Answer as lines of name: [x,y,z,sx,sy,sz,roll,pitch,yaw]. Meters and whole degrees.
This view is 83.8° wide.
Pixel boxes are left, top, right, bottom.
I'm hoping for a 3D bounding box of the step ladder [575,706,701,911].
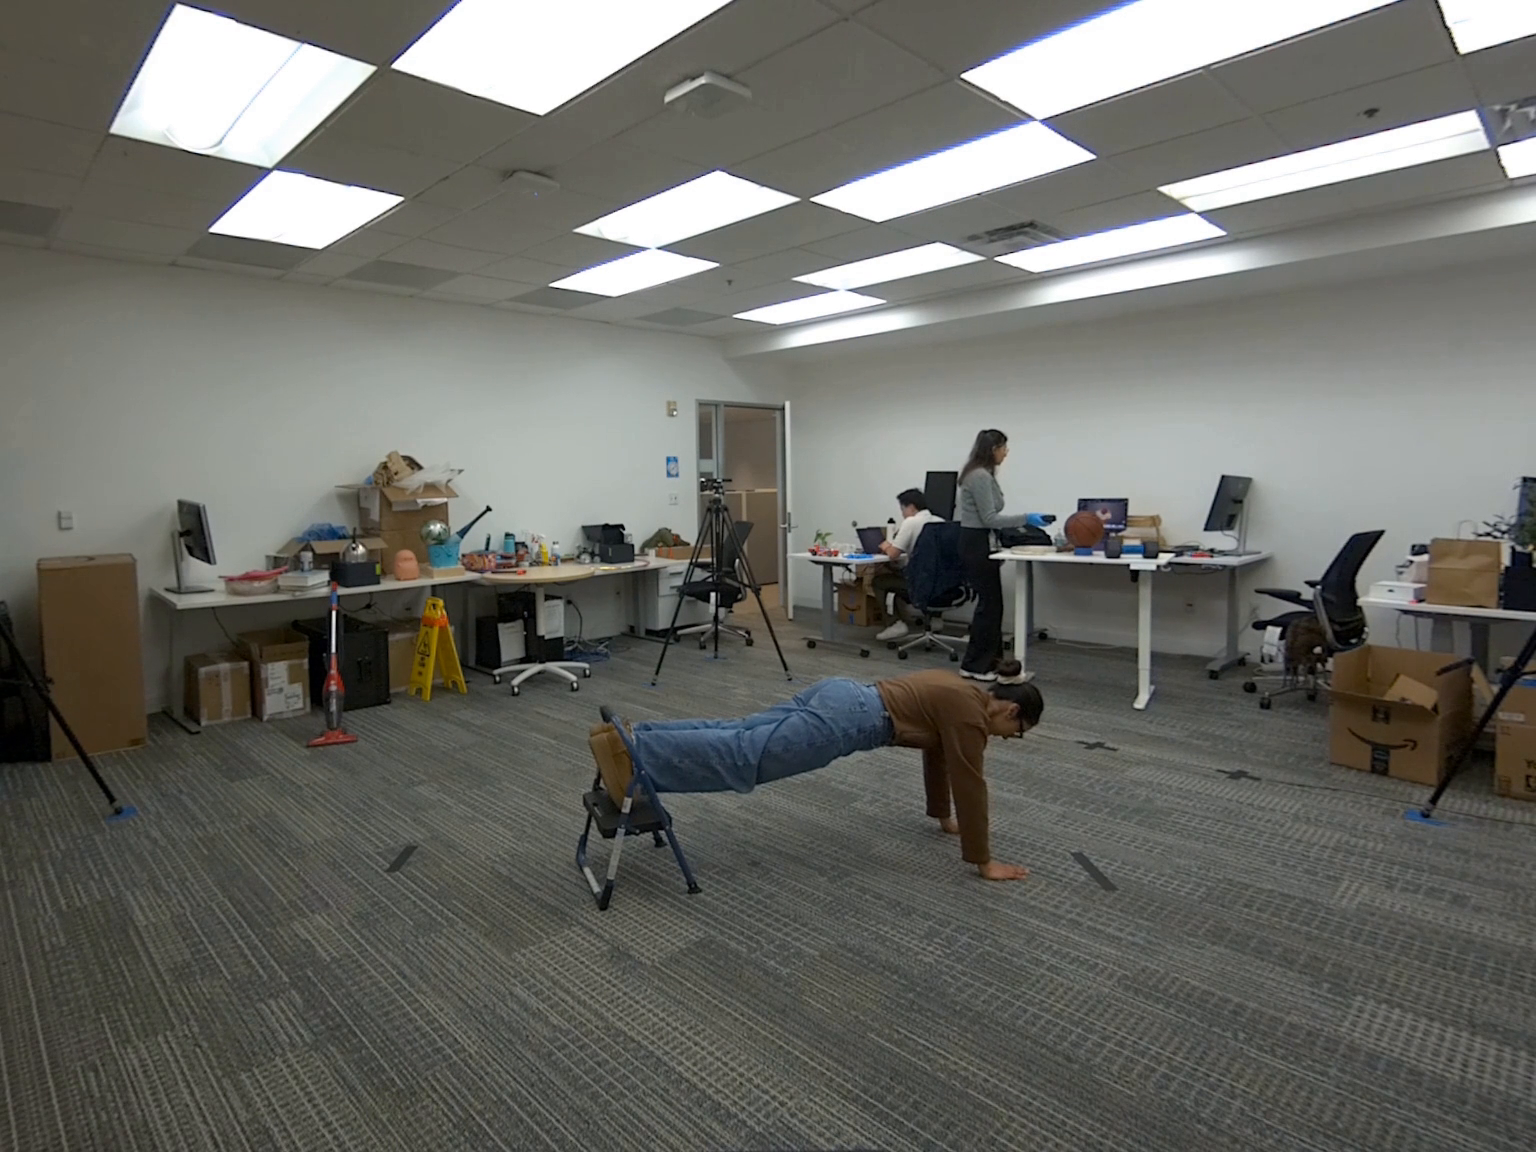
step ladder: [-0.473,0.764,3.010,0.342,0.604,0.441,-3,5,-24]
